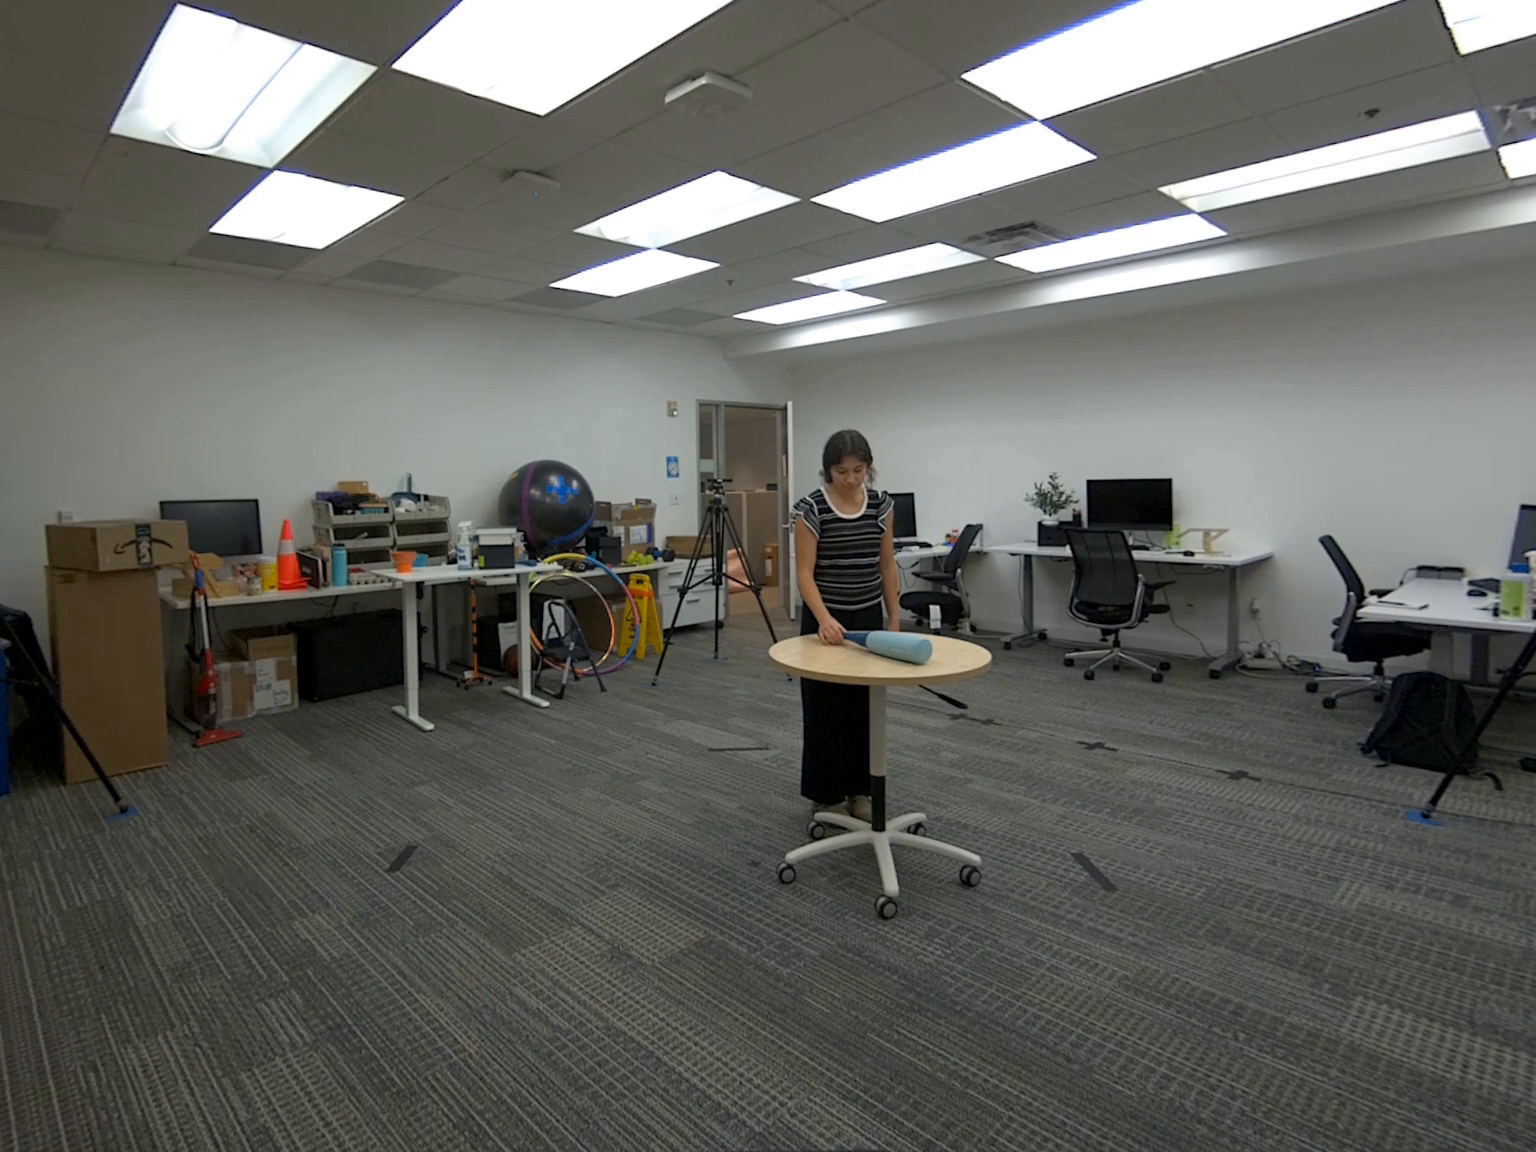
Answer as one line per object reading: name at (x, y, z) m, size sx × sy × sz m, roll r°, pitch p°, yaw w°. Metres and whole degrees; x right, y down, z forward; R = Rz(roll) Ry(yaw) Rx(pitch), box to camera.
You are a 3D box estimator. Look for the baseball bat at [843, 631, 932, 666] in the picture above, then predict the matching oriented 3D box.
baseball bat at (0.362, 0.235, 3.005) m, size 0.087 × 0.089 × 0.557 m, roll -4°, pitch 4°, yaw -31°
